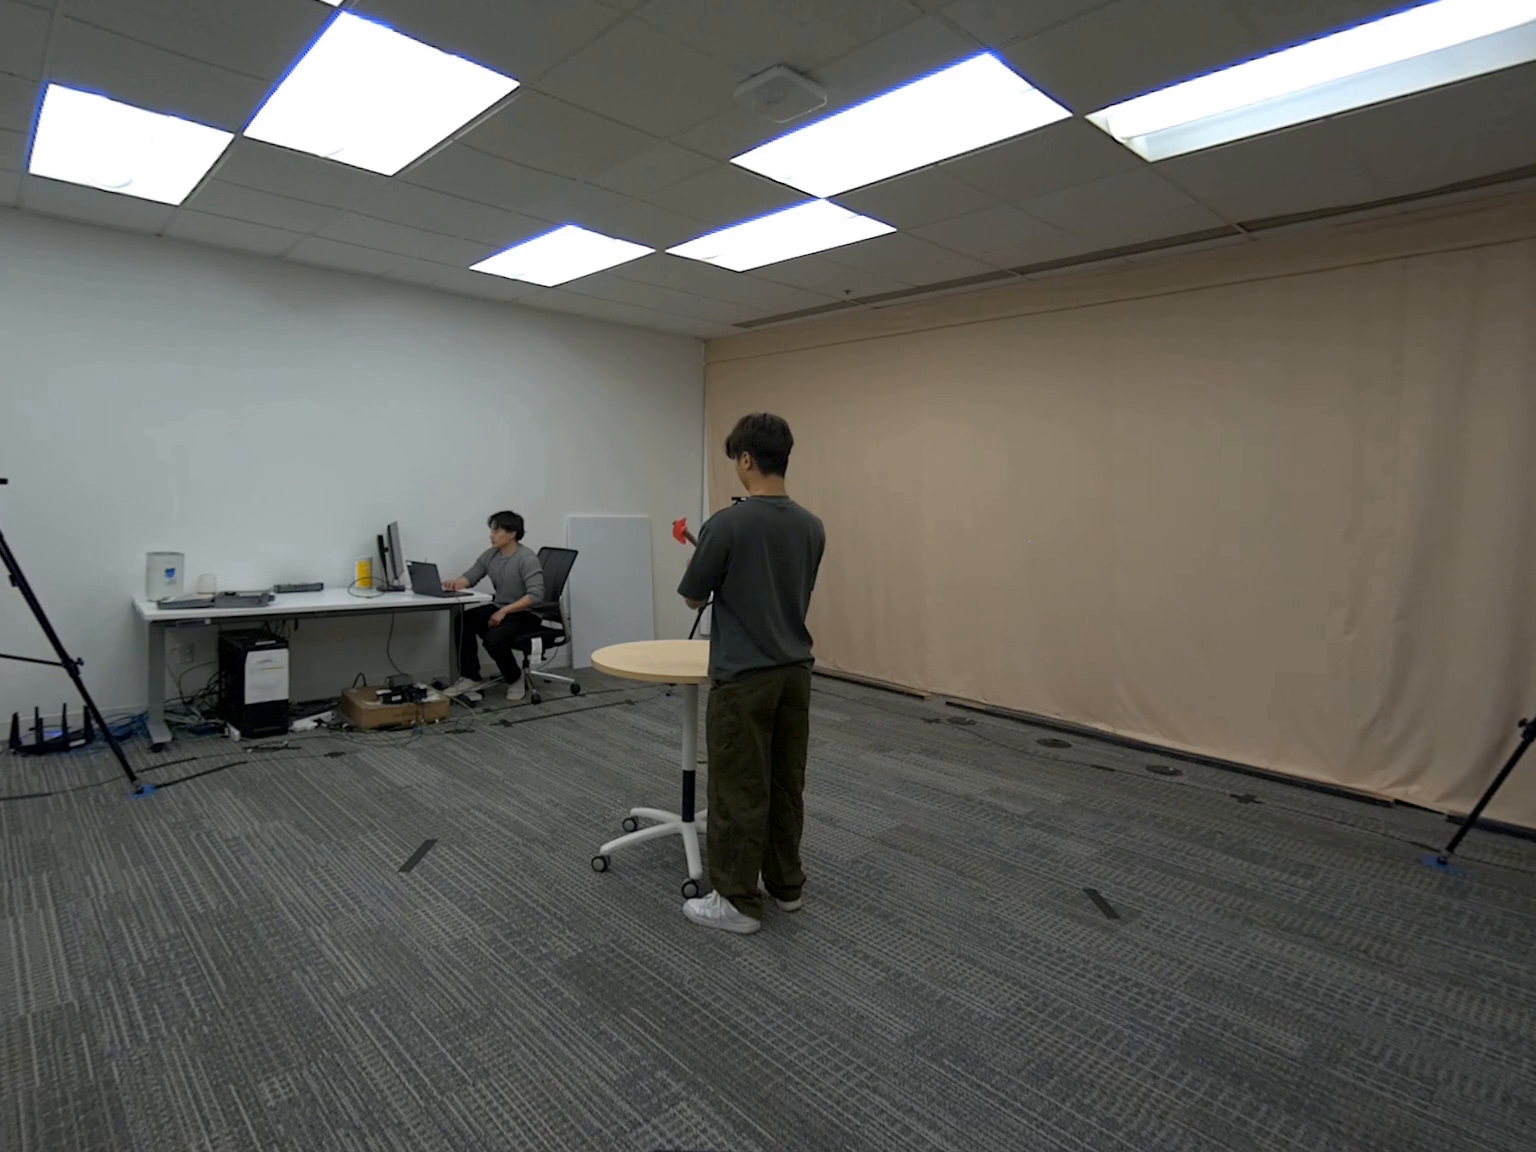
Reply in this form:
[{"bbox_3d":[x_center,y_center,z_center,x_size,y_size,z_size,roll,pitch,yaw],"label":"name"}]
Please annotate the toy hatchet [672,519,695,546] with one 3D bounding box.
[{"bbox_3d":[-0.274,-0.092,3.124,0.029,0.269,0.132,-35,5,-39],"label":"toy hatchet"}]
